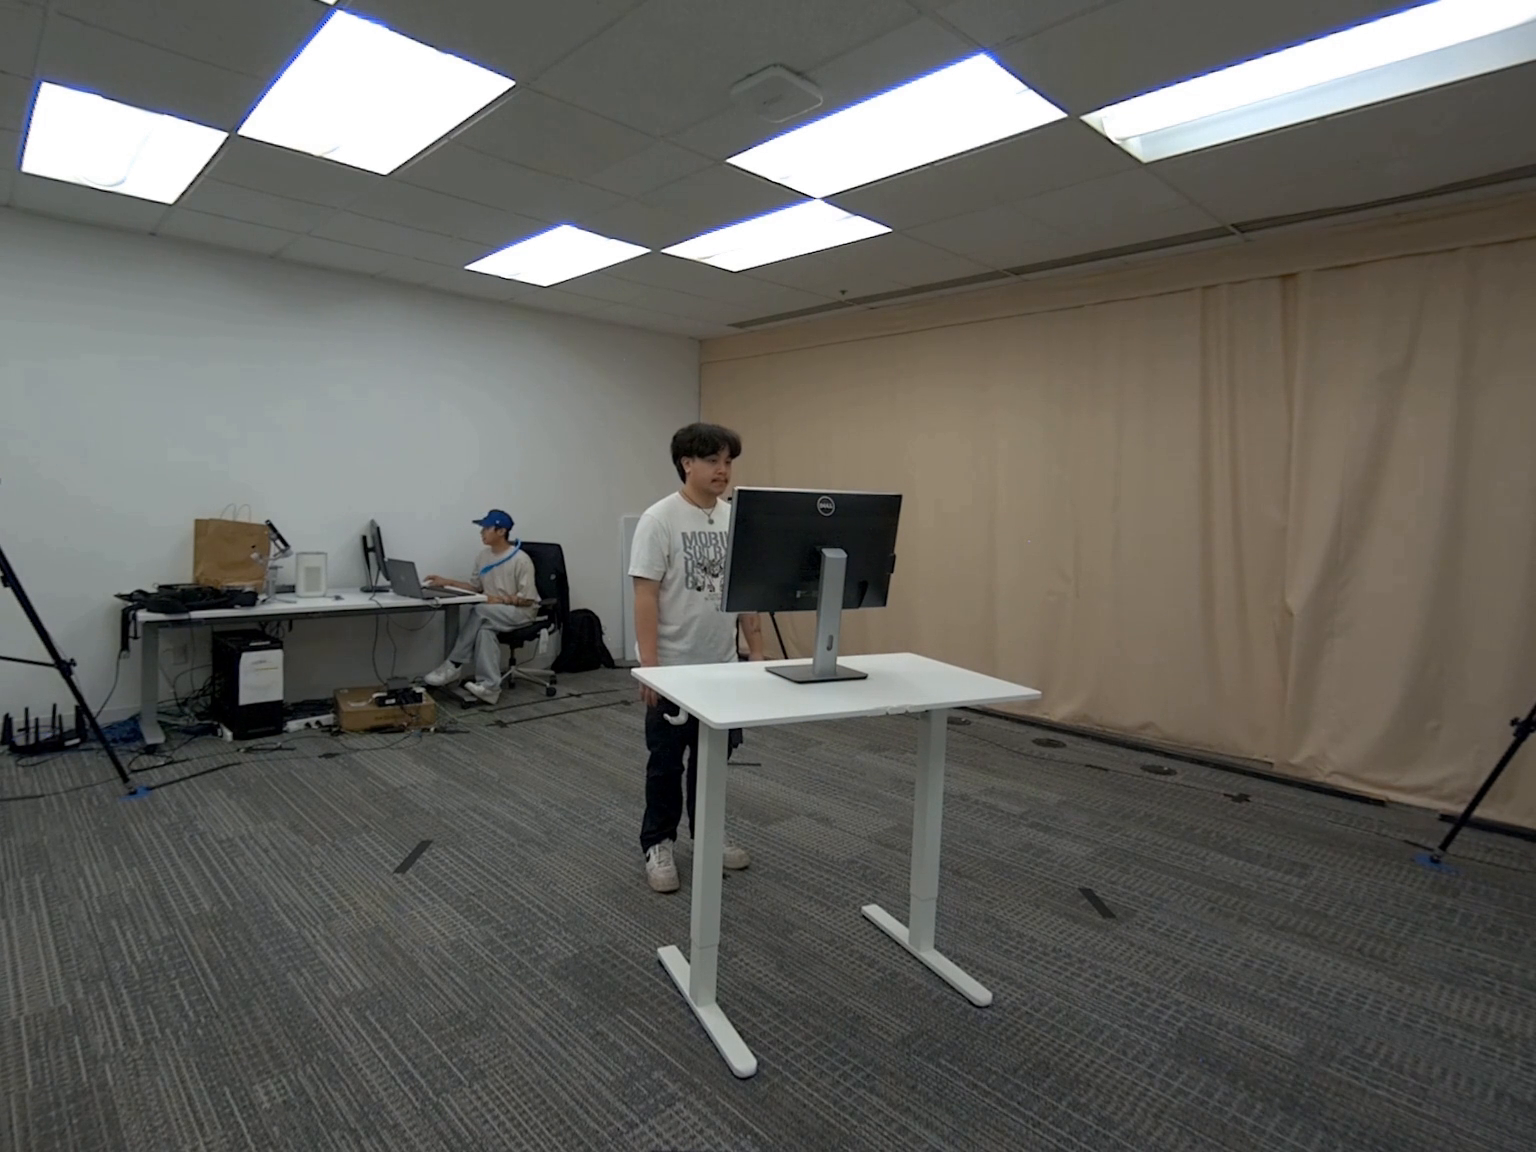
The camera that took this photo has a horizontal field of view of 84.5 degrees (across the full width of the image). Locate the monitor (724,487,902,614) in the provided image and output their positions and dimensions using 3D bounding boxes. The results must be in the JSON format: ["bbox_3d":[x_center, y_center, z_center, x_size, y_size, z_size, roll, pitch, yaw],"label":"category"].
[{"bbox_3d":[0.160,0.030,2.421,0.555,0.551,0.215,0,8,-26],"label":"monitor"}]
